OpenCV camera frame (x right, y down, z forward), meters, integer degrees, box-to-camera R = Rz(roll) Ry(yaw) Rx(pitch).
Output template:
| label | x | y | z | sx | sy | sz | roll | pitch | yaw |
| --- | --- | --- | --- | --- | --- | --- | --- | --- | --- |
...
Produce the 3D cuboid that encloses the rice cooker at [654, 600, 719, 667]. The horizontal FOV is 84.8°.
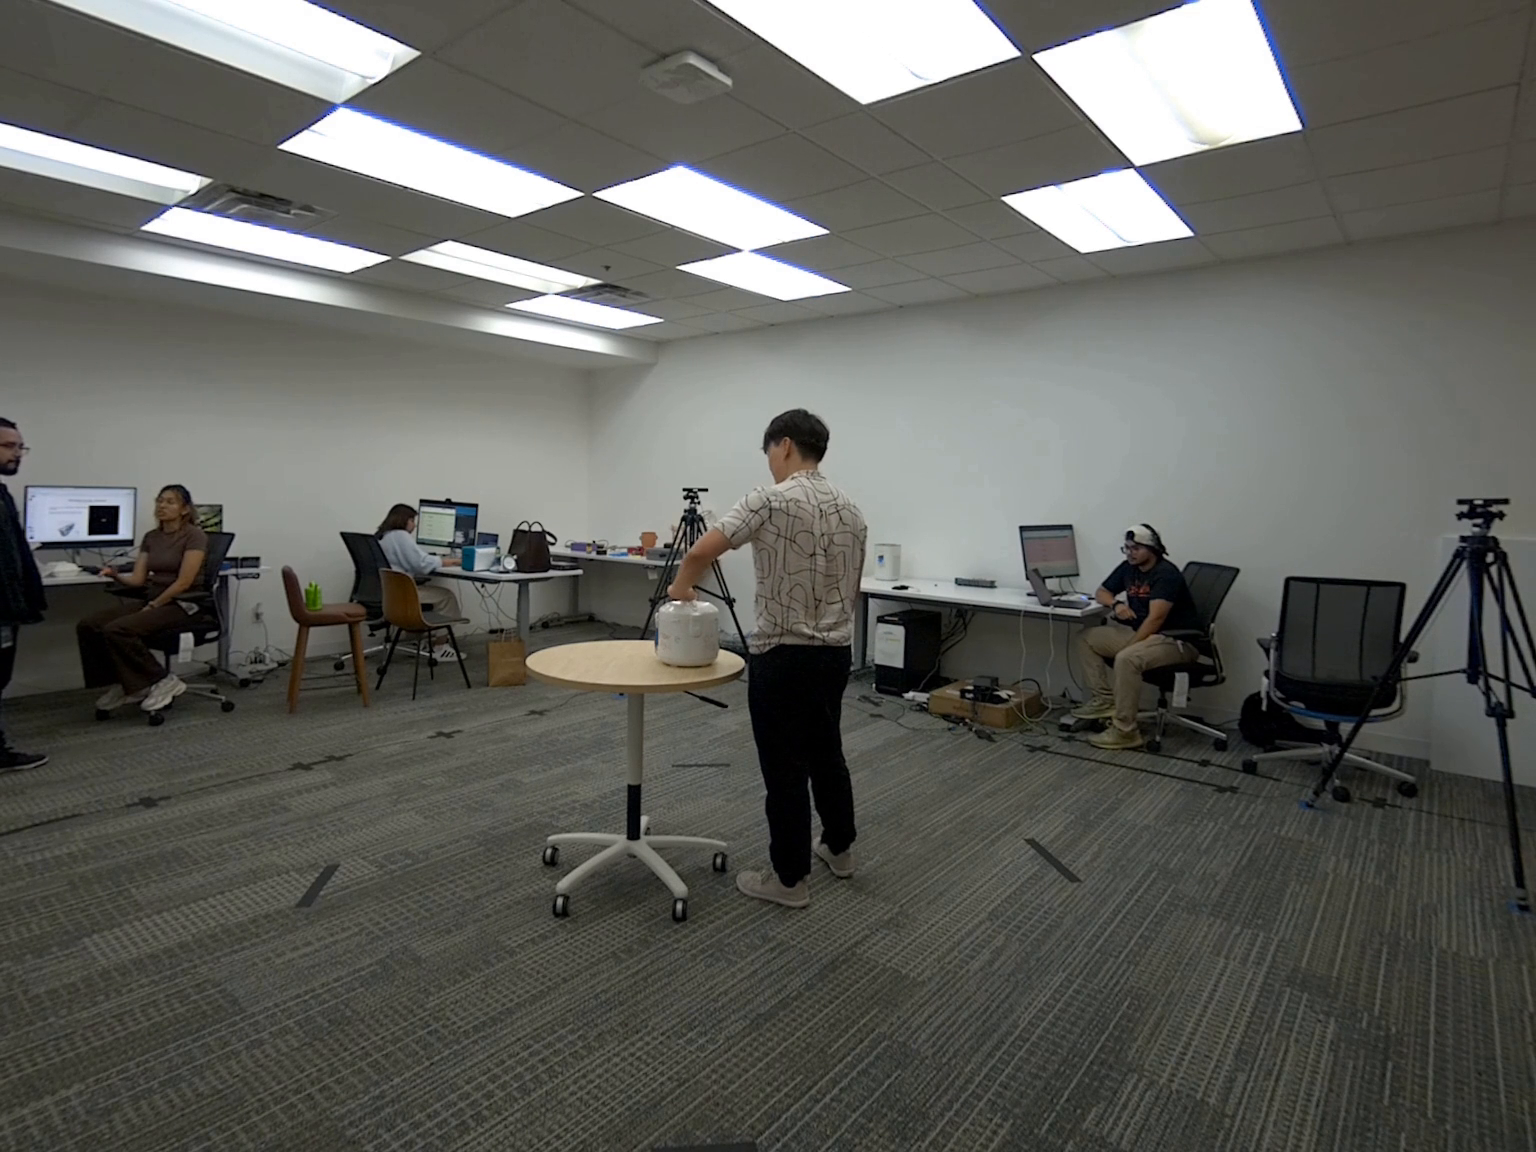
| label | x | y | z | sx | sy | sz | roll | pitch | yaw |
| --- | --- | --- | --- | --- | --- | --- | --- | --- | --- |
| rice cooker | -0.288 | 0.186 | 2.976 | 0.214 | 0.231 | 0.226 | 0 | 6 | -17 |
